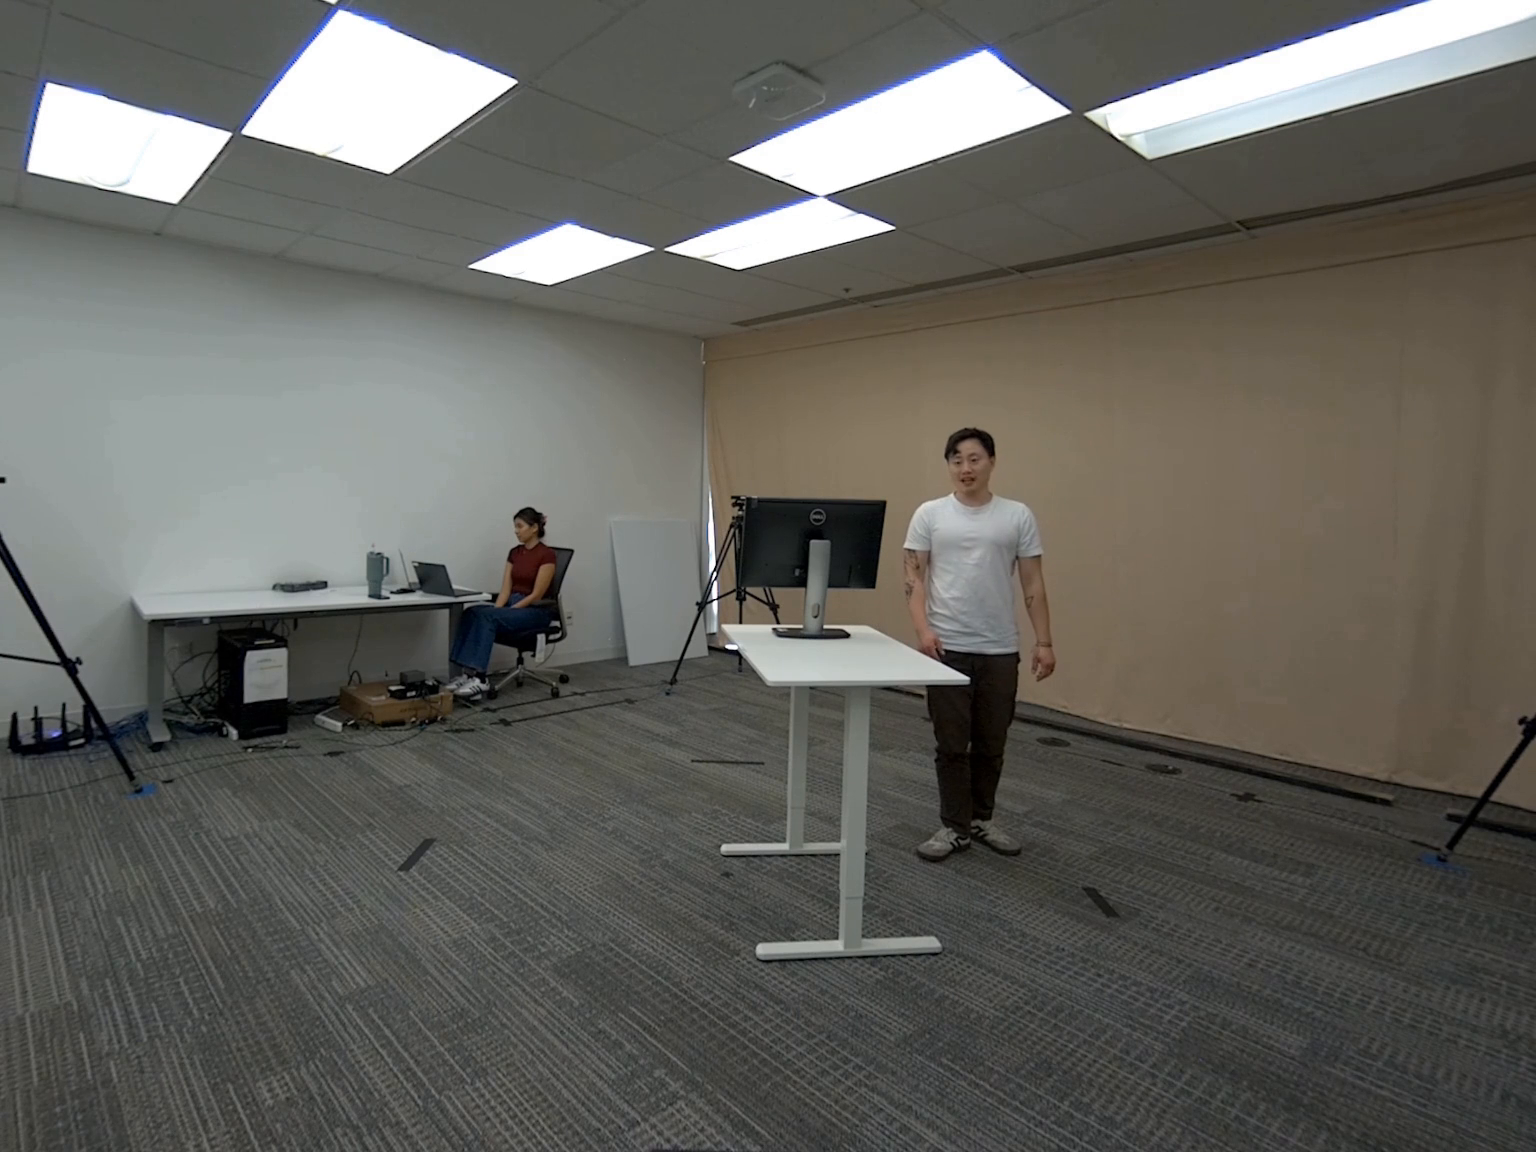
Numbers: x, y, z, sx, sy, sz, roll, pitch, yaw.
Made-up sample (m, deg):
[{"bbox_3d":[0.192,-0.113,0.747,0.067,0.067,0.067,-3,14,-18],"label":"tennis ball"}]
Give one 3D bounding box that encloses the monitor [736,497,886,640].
[{"bbox_3d":[0.172,-0.027,3.121,0.534,0.521,0.189,1,4,-12],"label":"monitor"}]
